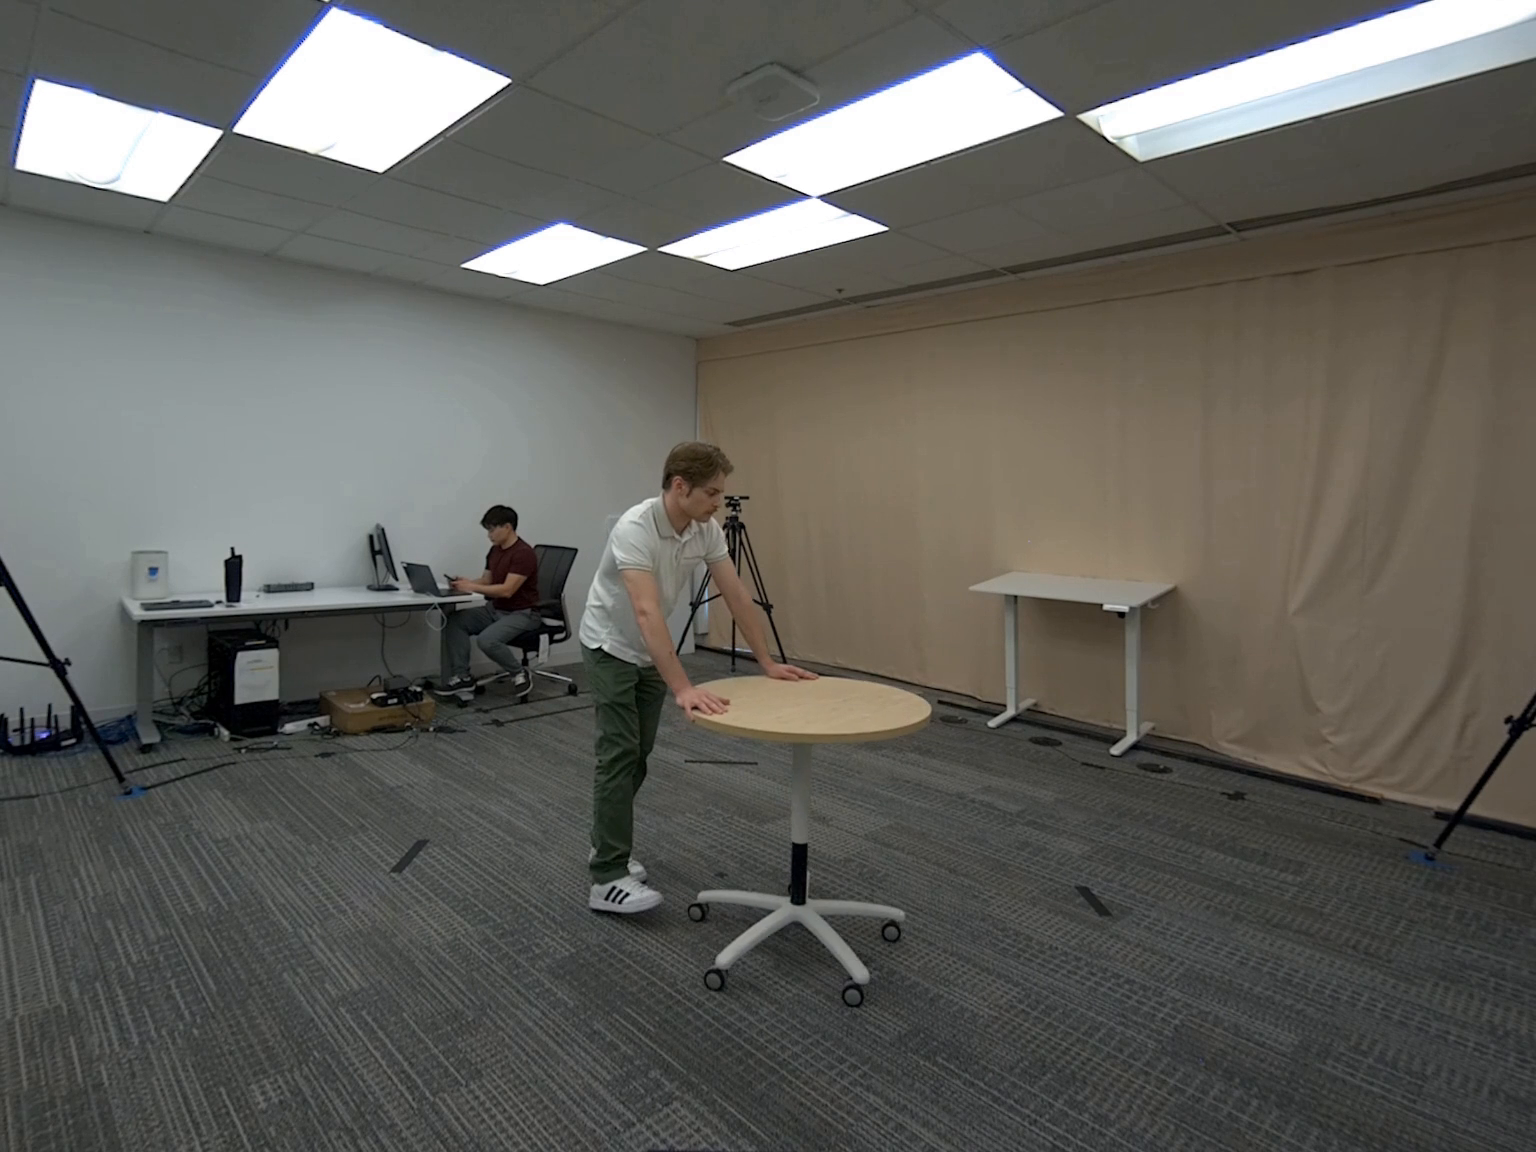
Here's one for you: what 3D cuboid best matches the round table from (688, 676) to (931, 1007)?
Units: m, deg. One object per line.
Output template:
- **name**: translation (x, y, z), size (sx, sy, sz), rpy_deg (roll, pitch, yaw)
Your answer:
- **round table**: translation (0.093, 0.772, 2.599), size (0.763, 0.792, 0.766), rpy_deg (1, 4, -1)
